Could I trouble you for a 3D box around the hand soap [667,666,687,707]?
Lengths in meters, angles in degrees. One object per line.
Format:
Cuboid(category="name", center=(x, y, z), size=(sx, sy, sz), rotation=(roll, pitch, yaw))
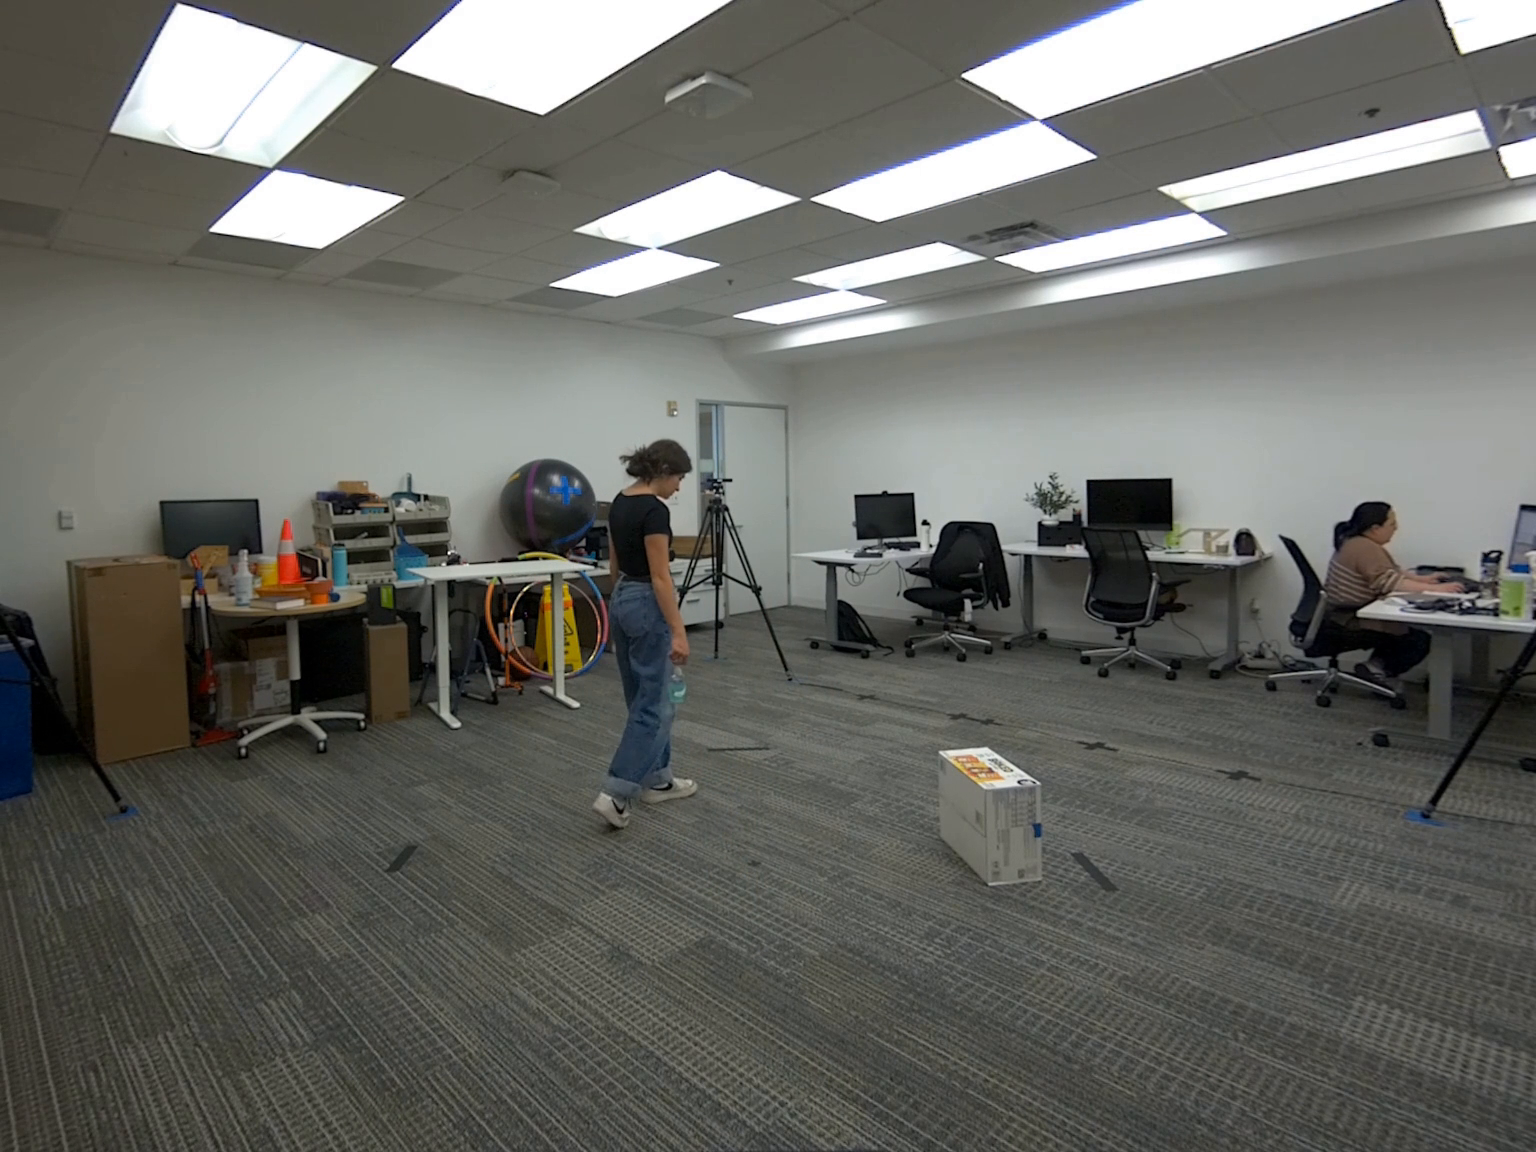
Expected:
Cuboid(category="hand soap", center=(-0.368, 0.425, 3.419), size=(0.082, 0.168, 0.044), rotation=(3, -2, -31))
